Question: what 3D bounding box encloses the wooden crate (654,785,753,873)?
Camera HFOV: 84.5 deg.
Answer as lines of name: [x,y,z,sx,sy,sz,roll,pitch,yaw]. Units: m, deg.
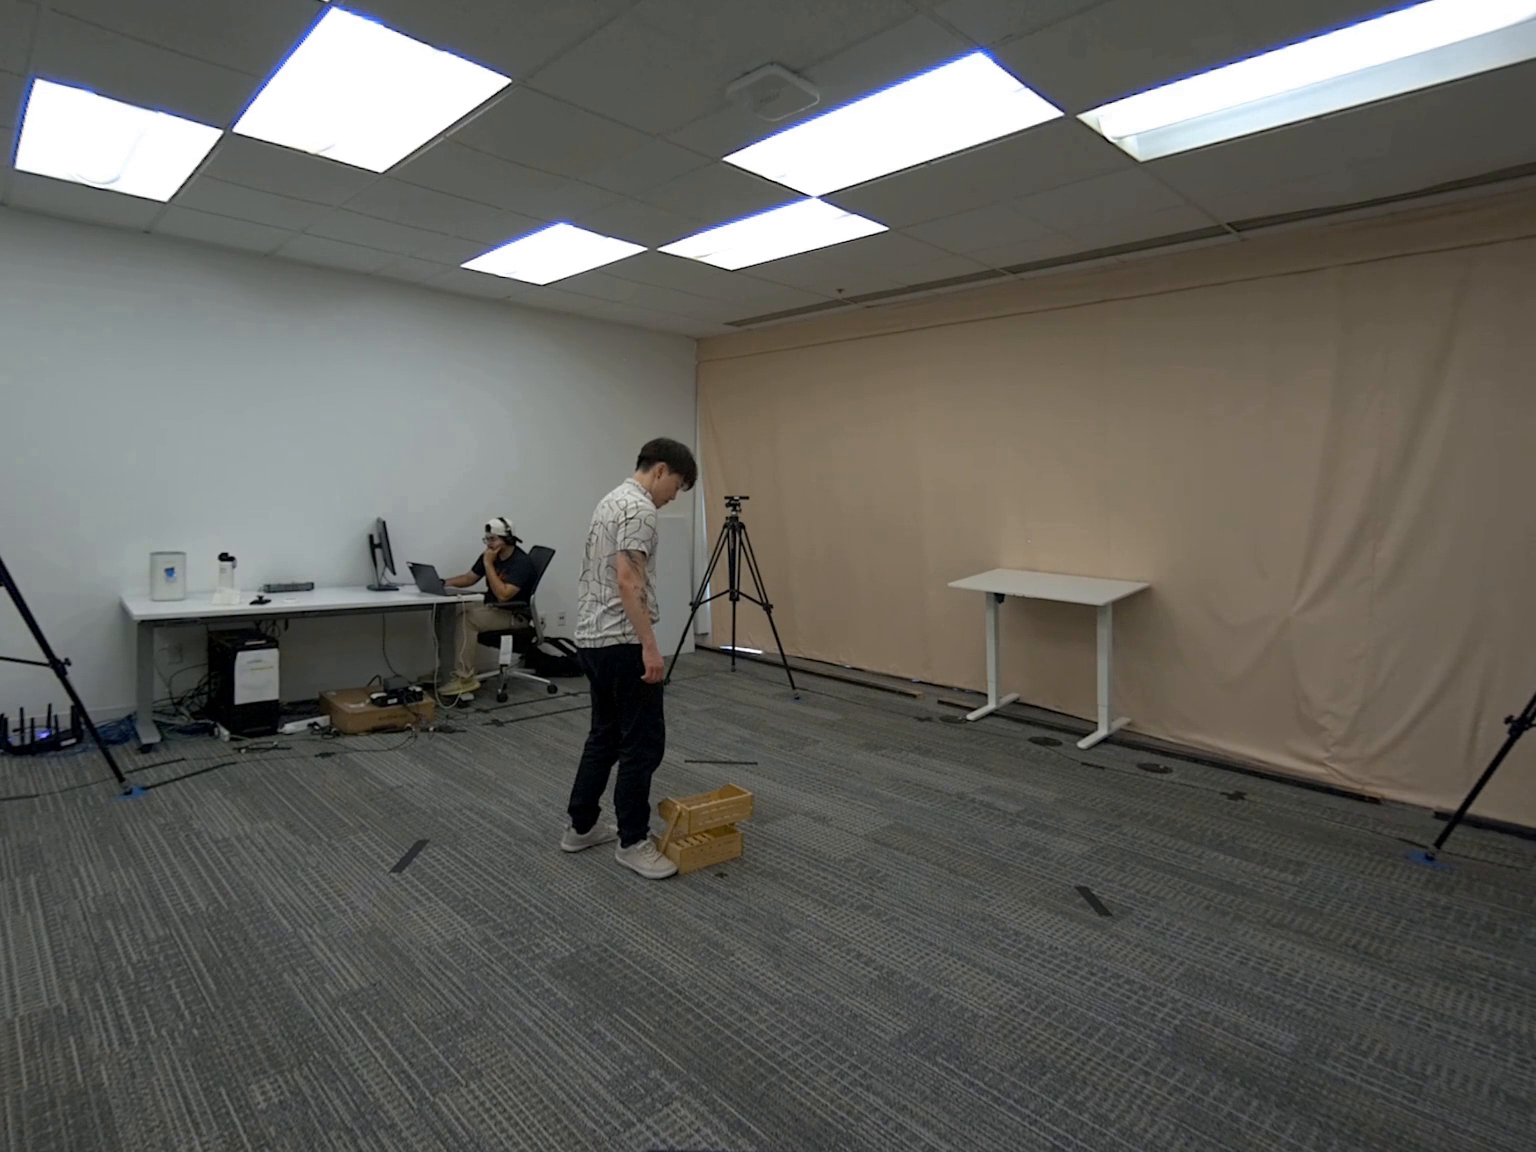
wooden crate: [-0.288,0.954,3.254,0.317,0.272,0.310,-2,6,-40]
